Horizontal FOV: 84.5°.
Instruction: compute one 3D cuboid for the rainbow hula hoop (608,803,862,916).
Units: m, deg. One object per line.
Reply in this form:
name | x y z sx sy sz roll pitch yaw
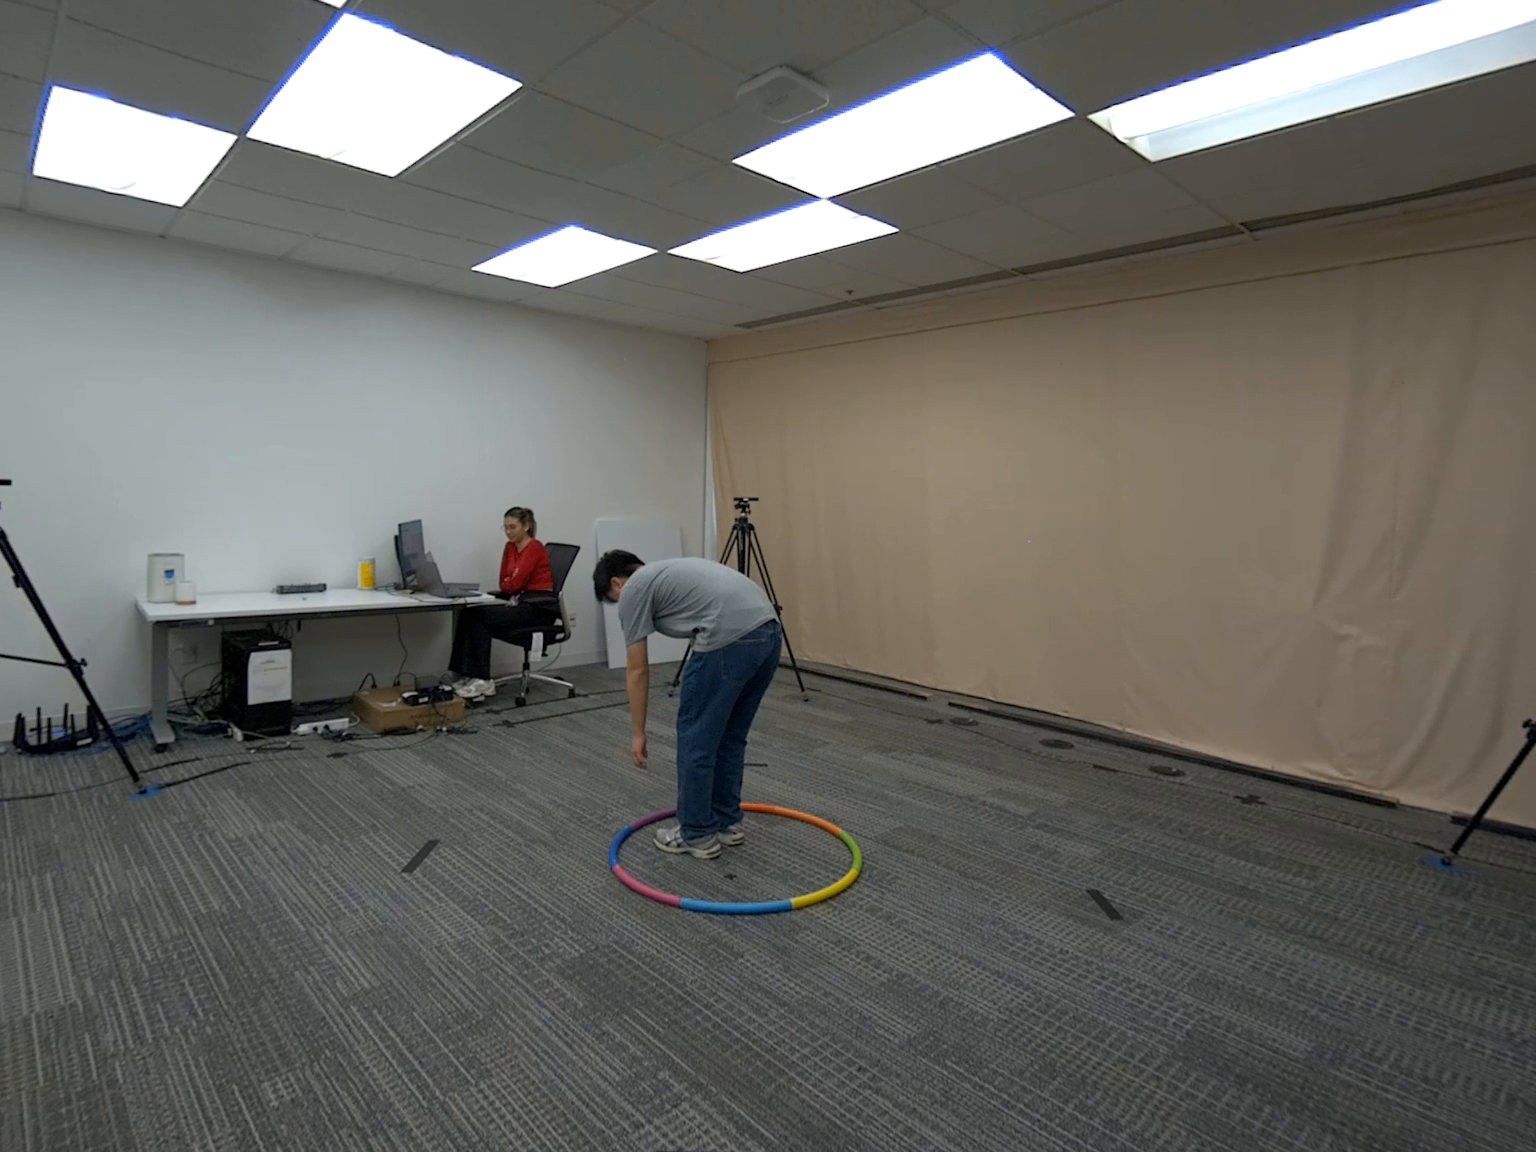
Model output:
rainbow hula hoop | -0.143 1.060 3.302 0.978 0.035 0.982 1 5 -1
